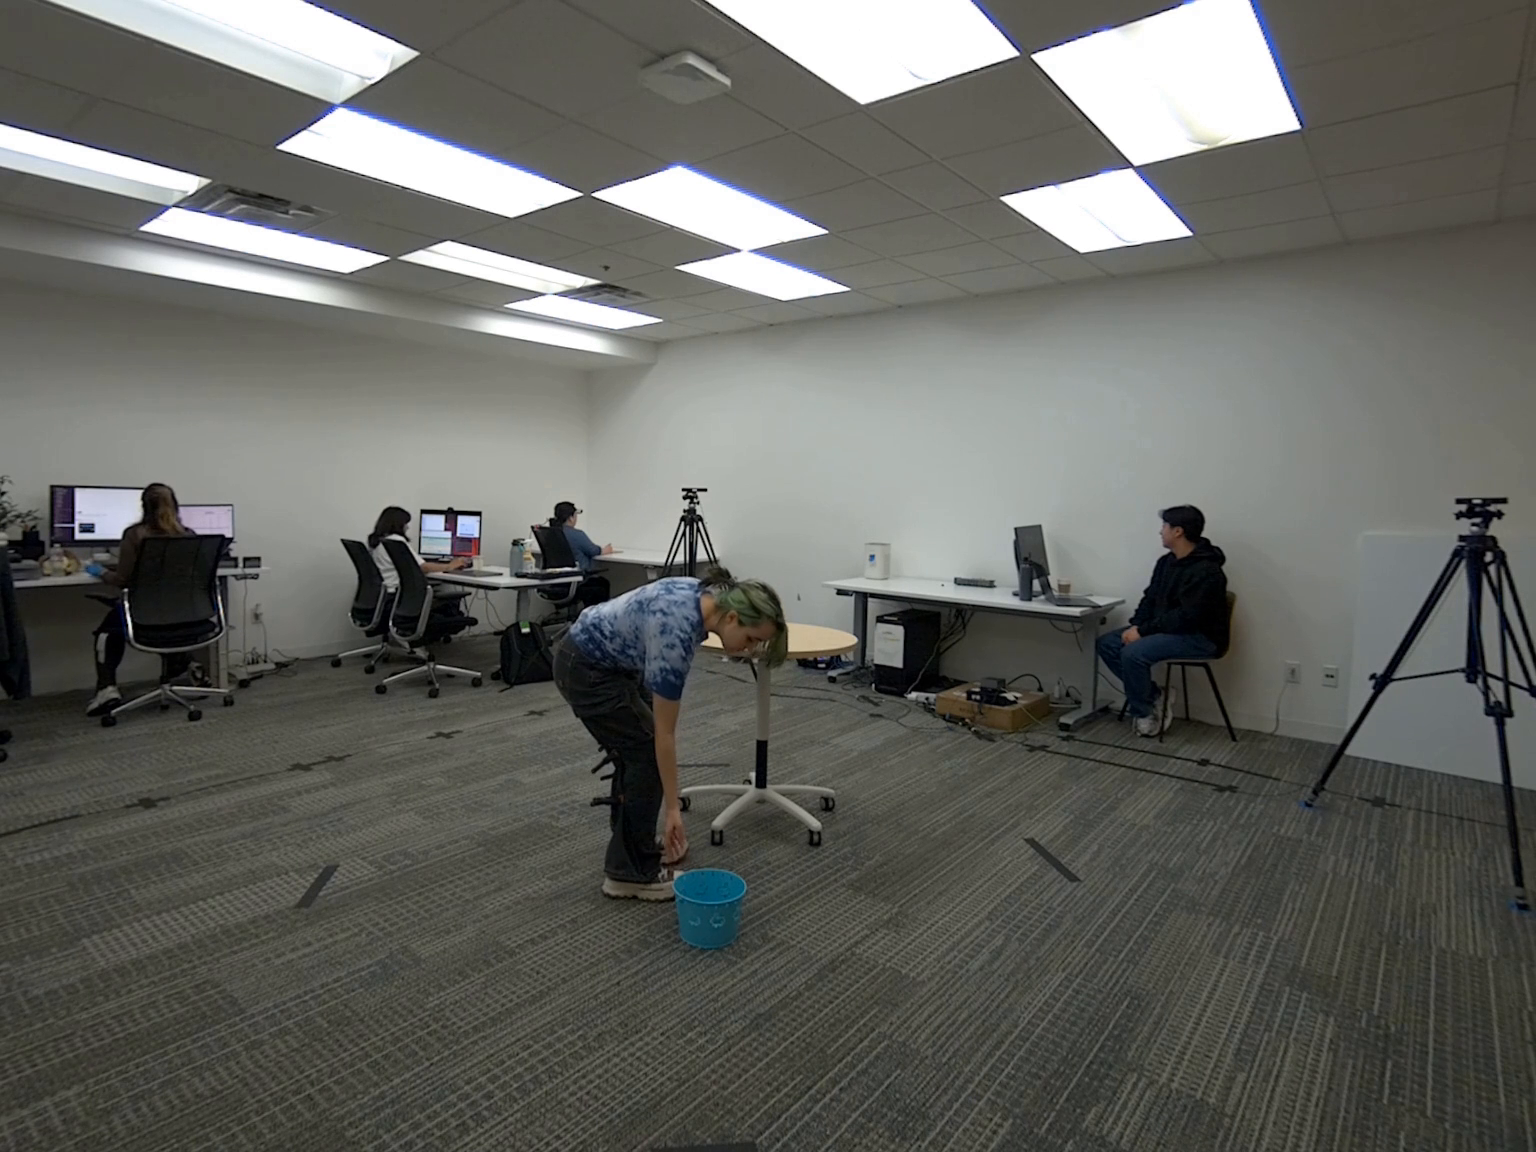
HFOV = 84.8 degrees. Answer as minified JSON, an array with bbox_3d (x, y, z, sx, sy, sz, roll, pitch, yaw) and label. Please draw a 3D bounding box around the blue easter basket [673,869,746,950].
[{"bbox_3d":[-0.191,1.035,2.659,0.243,0.155,0.245,1,5,-2],"label":"blue easter basket"}]
